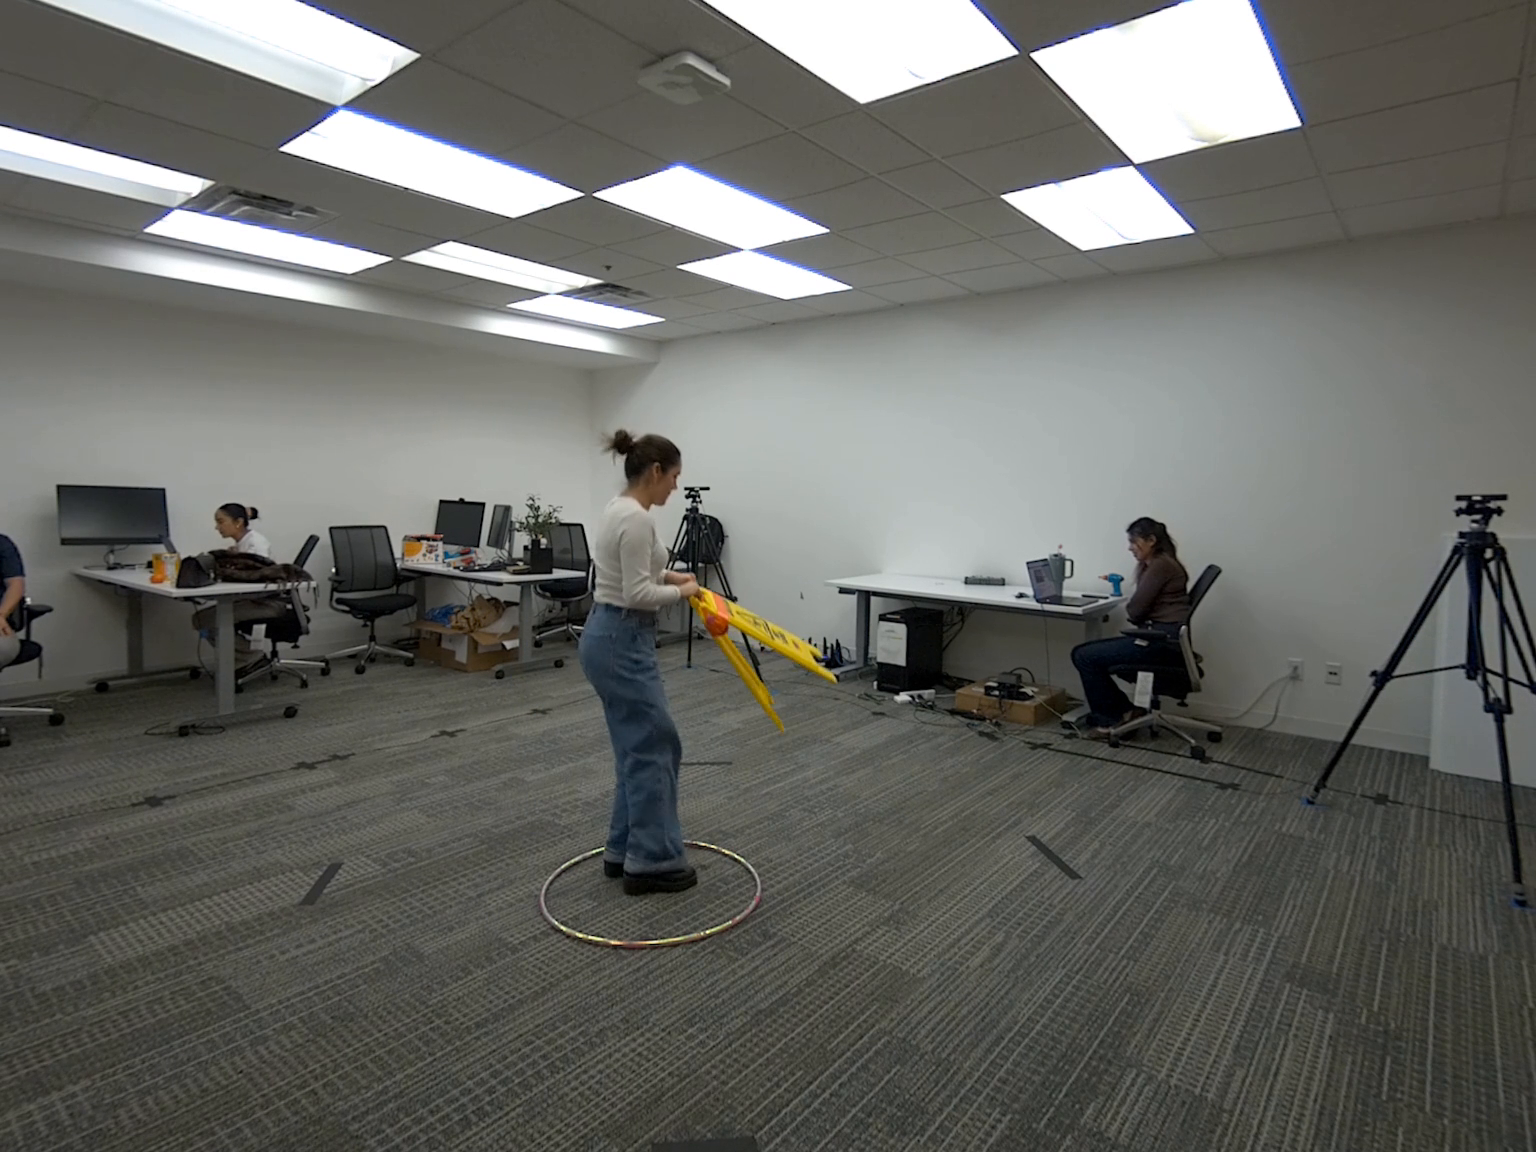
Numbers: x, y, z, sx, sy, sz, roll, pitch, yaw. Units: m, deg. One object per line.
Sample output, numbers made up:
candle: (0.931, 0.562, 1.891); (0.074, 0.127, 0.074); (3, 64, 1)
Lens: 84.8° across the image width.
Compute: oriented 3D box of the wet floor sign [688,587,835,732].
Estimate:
wet floor sign: (-0.129, 0.248, 3.211); (0.629, 0.290, 0.290); (44, 7, -20)
